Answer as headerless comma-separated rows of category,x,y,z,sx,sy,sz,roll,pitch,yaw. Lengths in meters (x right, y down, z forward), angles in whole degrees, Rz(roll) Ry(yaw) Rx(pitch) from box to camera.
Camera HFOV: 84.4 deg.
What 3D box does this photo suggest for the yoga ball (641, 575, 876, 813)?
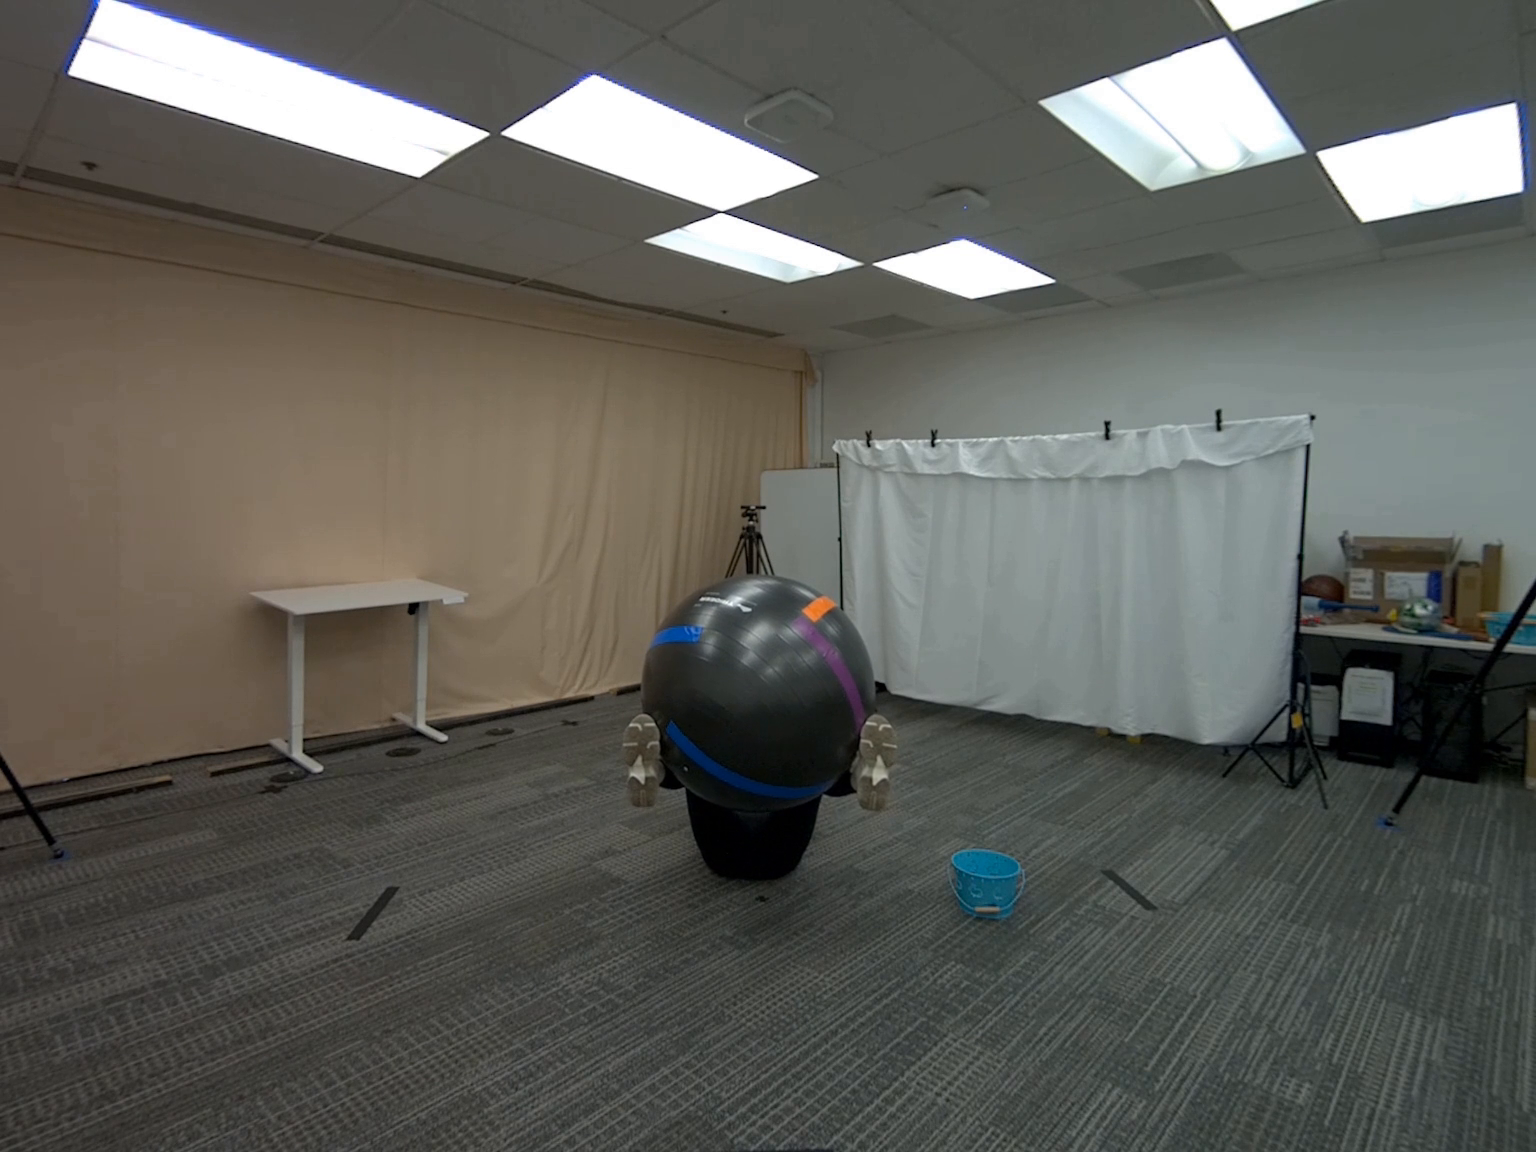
yoga ball,-0.038,0.375,2.741,0.757,0.756,0.760,0,4,-2
